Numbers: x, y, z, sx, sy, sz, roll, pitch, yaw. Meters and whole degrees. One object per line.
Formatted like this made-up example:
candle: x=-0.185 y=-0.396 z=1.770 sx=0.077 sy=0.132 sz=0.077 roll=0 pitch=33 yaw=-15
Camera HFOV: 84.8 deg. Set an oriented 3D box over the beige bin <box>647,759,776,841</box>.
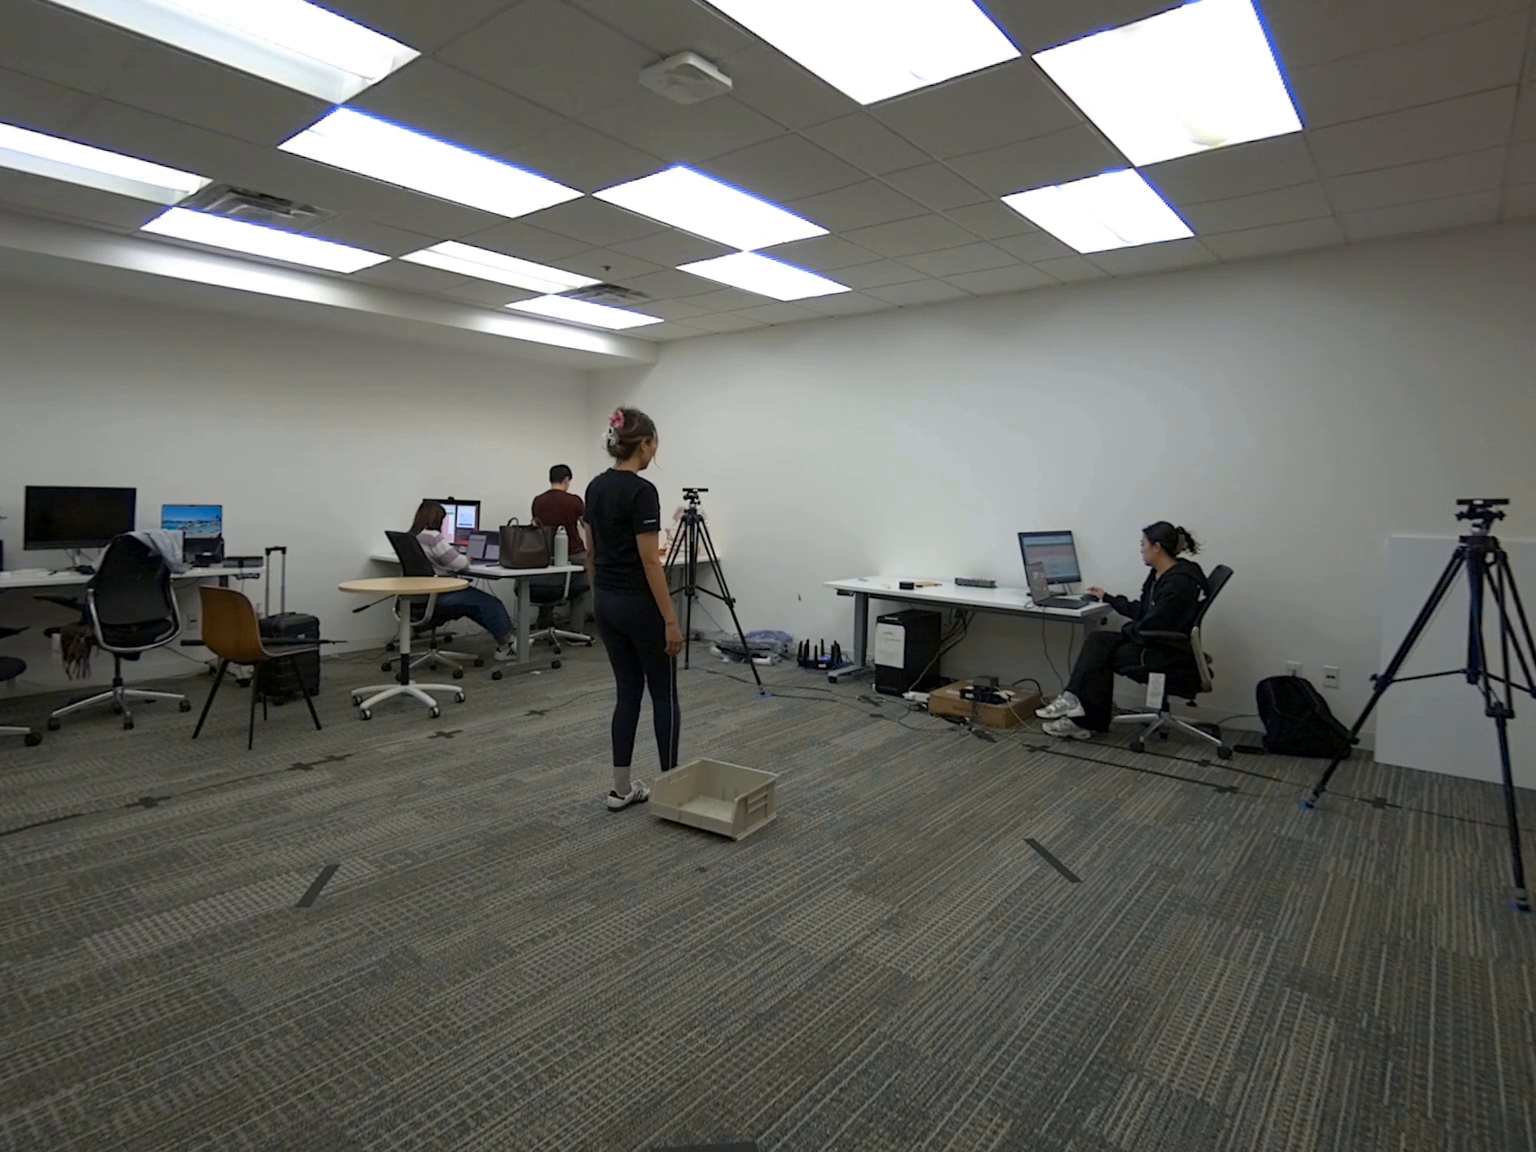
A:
beige bin: x=-0.235 y=0.936 z=3.582 sx=0.435 sy=0.188 sz=0.367 roll=3 pitch=4 yaw=31
